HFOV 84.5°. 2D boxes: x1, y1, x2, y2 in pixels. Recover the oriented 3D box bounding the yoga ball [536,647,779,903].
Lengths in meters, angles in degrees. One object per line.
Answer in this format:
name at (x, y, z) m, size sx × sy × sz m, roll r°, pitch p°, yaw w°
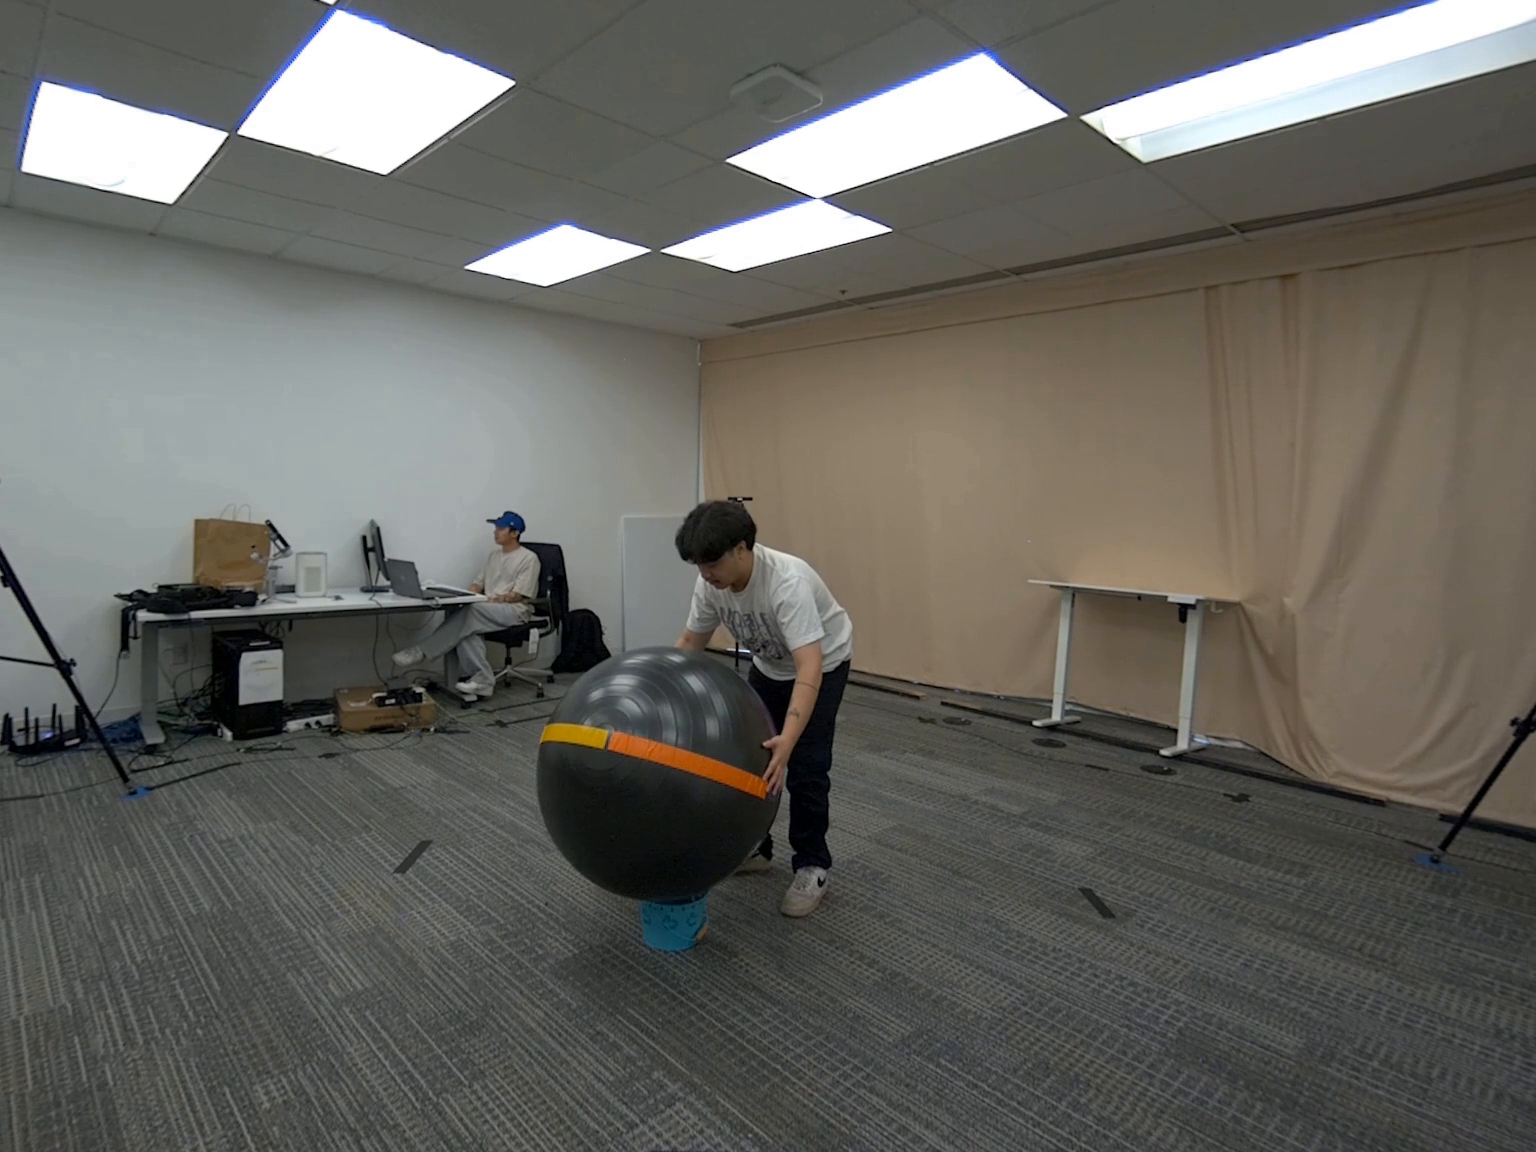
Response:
yoga ball at (-0.338, 0.606, 2.613) m, size 0.757 × 0.756 × 0.760 m, roll 1°, pitch 4°, yaw -1°
